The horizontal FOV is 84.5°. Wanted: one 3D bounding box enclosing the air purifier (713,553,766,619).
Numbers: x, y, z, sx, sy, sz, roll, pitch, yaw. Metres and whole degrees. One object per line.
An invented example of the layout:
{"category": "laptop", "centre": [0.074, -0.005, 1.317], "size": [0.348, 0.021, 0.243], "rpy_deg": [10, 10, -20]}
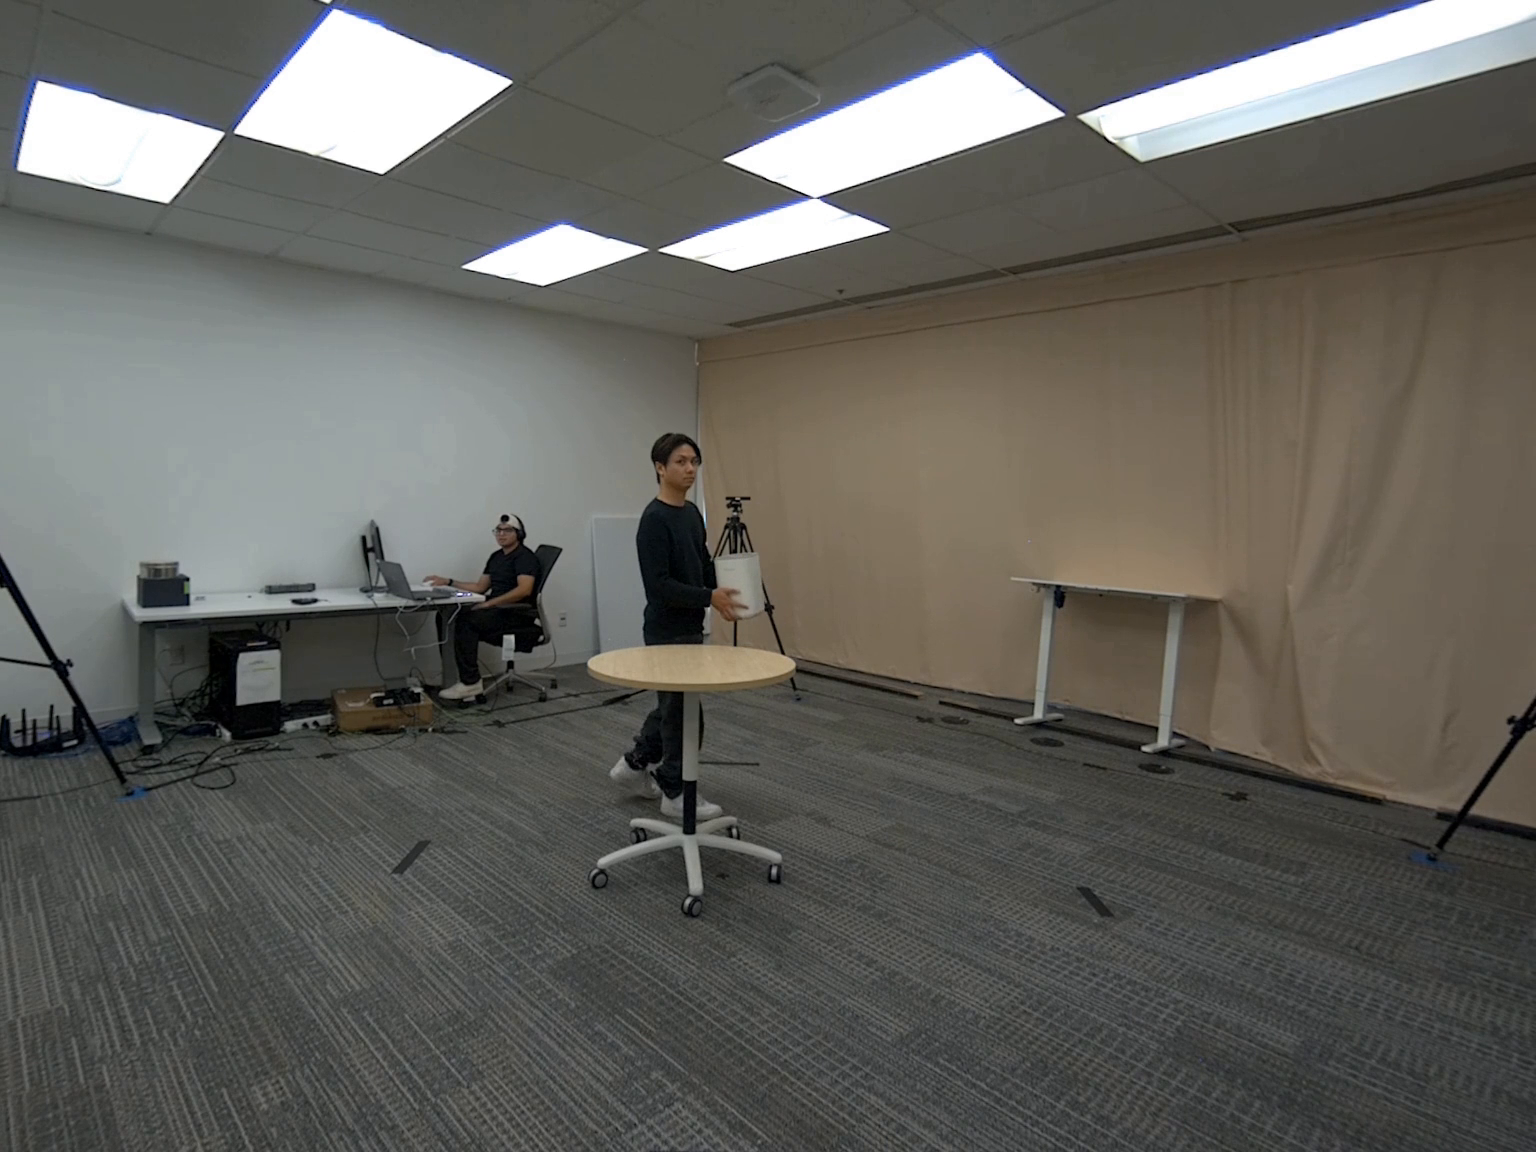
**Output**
{"category": "air purifier", "centre": [-0.139, 0.041, 3.611], "size": [0.173, 0.264, 0.170], "rpy_deg": [-4, 6, 21]}
